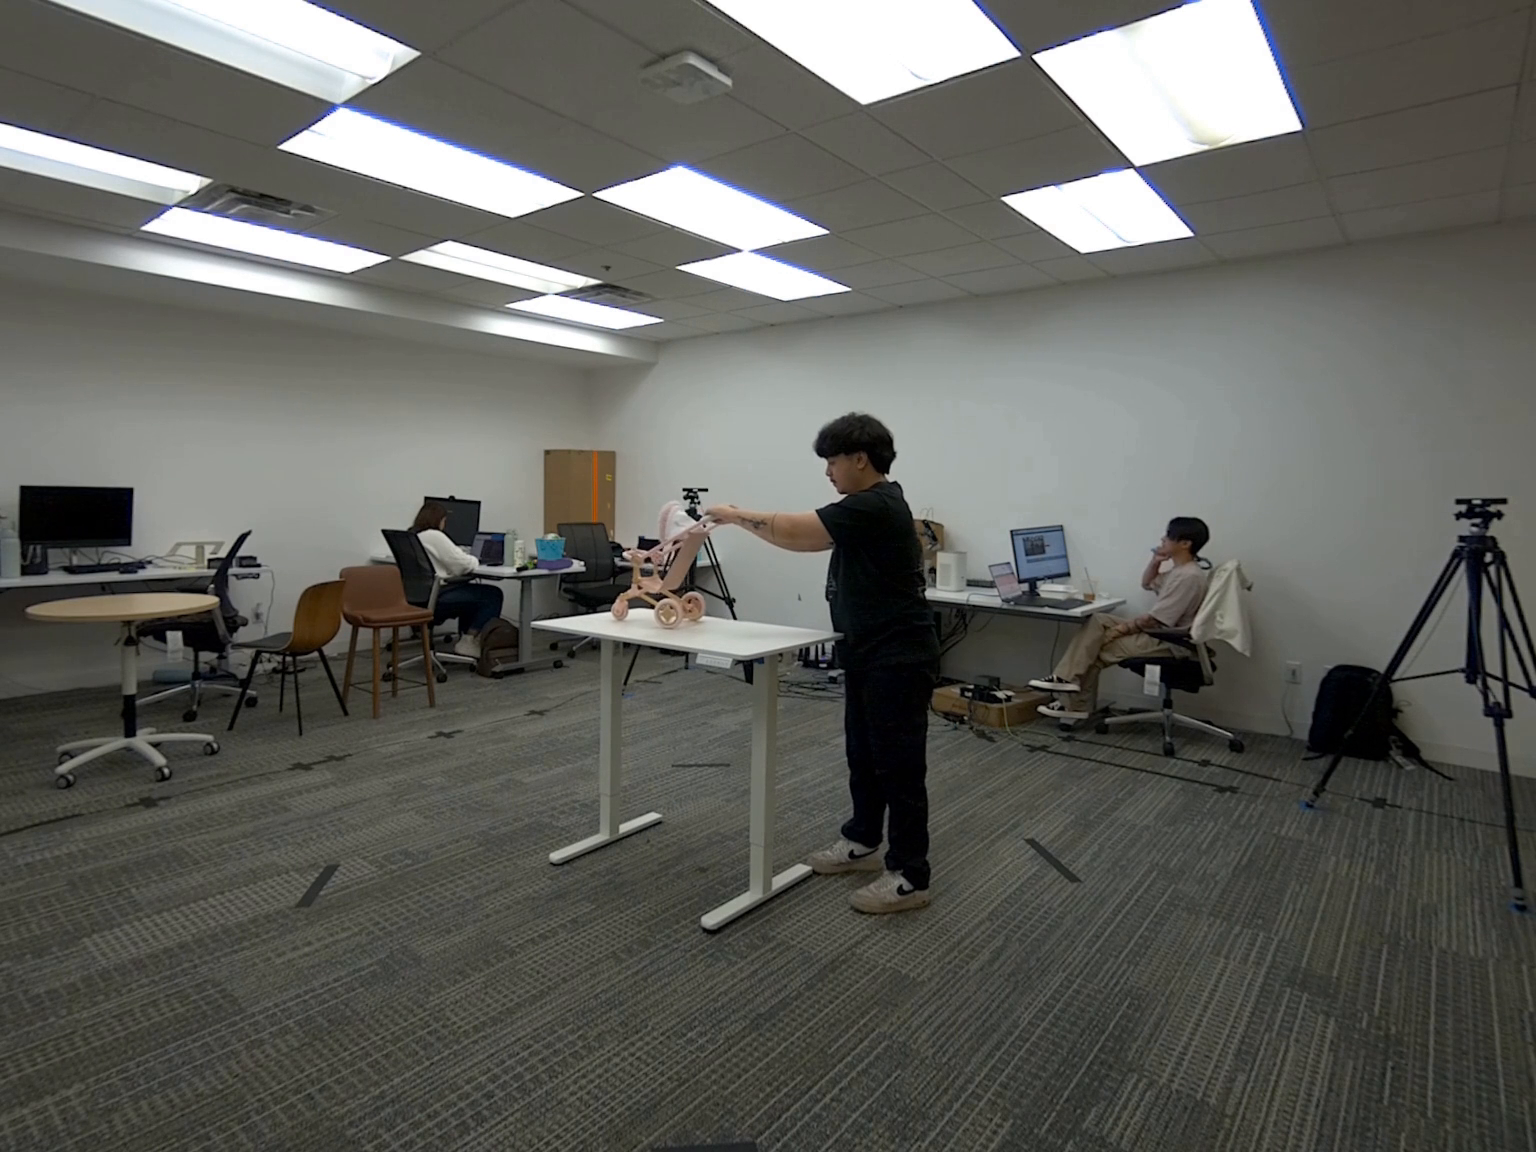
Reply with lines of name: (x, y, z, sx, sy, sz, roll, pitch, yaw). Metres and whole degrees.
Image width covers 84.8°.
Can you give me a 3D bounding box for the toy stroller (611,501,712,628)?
toy stroller: (-0.391, -0.044, 3.190, 0.351, 0.532, 0.275, 20, 9, 20)
